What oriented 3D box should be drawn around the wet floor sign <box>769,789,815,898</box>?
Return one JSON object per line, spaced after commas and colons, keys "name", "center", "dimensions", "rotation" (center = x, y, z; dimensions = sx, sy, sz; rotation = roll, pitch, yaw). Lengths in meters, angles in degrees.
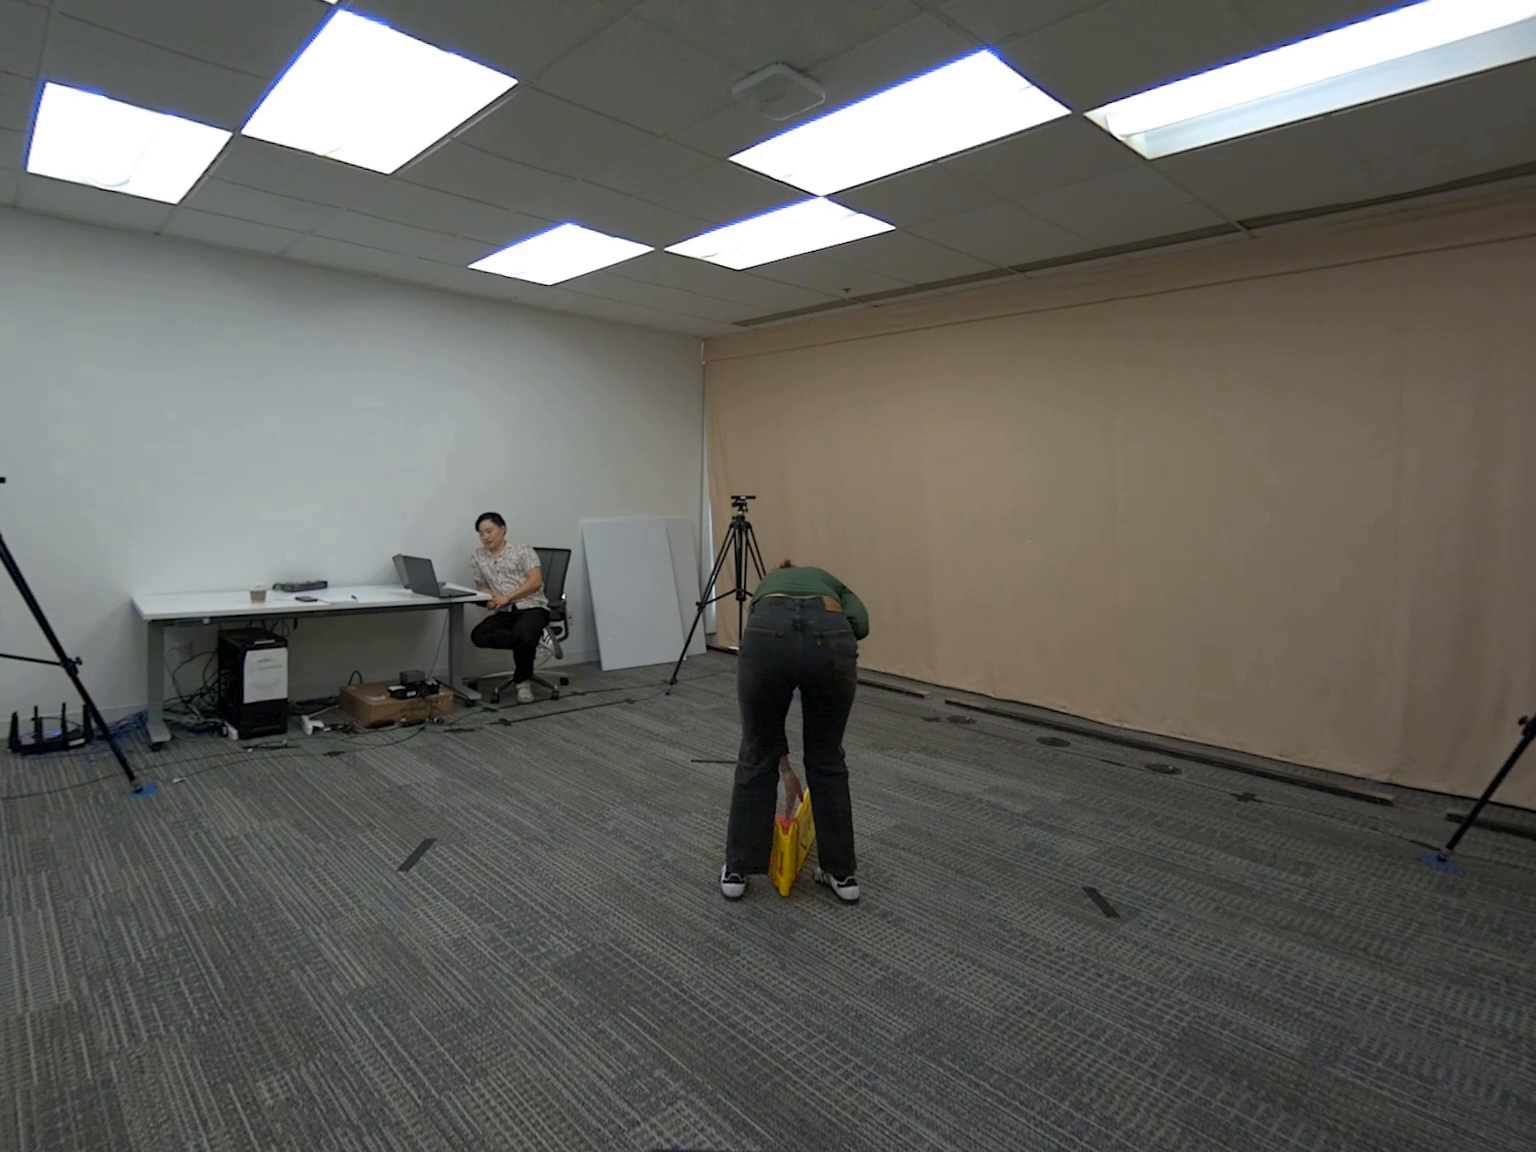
{"name": "wet floor sign", "center": [0.053, 0.965, 3.198], "dimensions": [0.290, 0.281, 0.648], "rotation": [1, 7, 0]}
